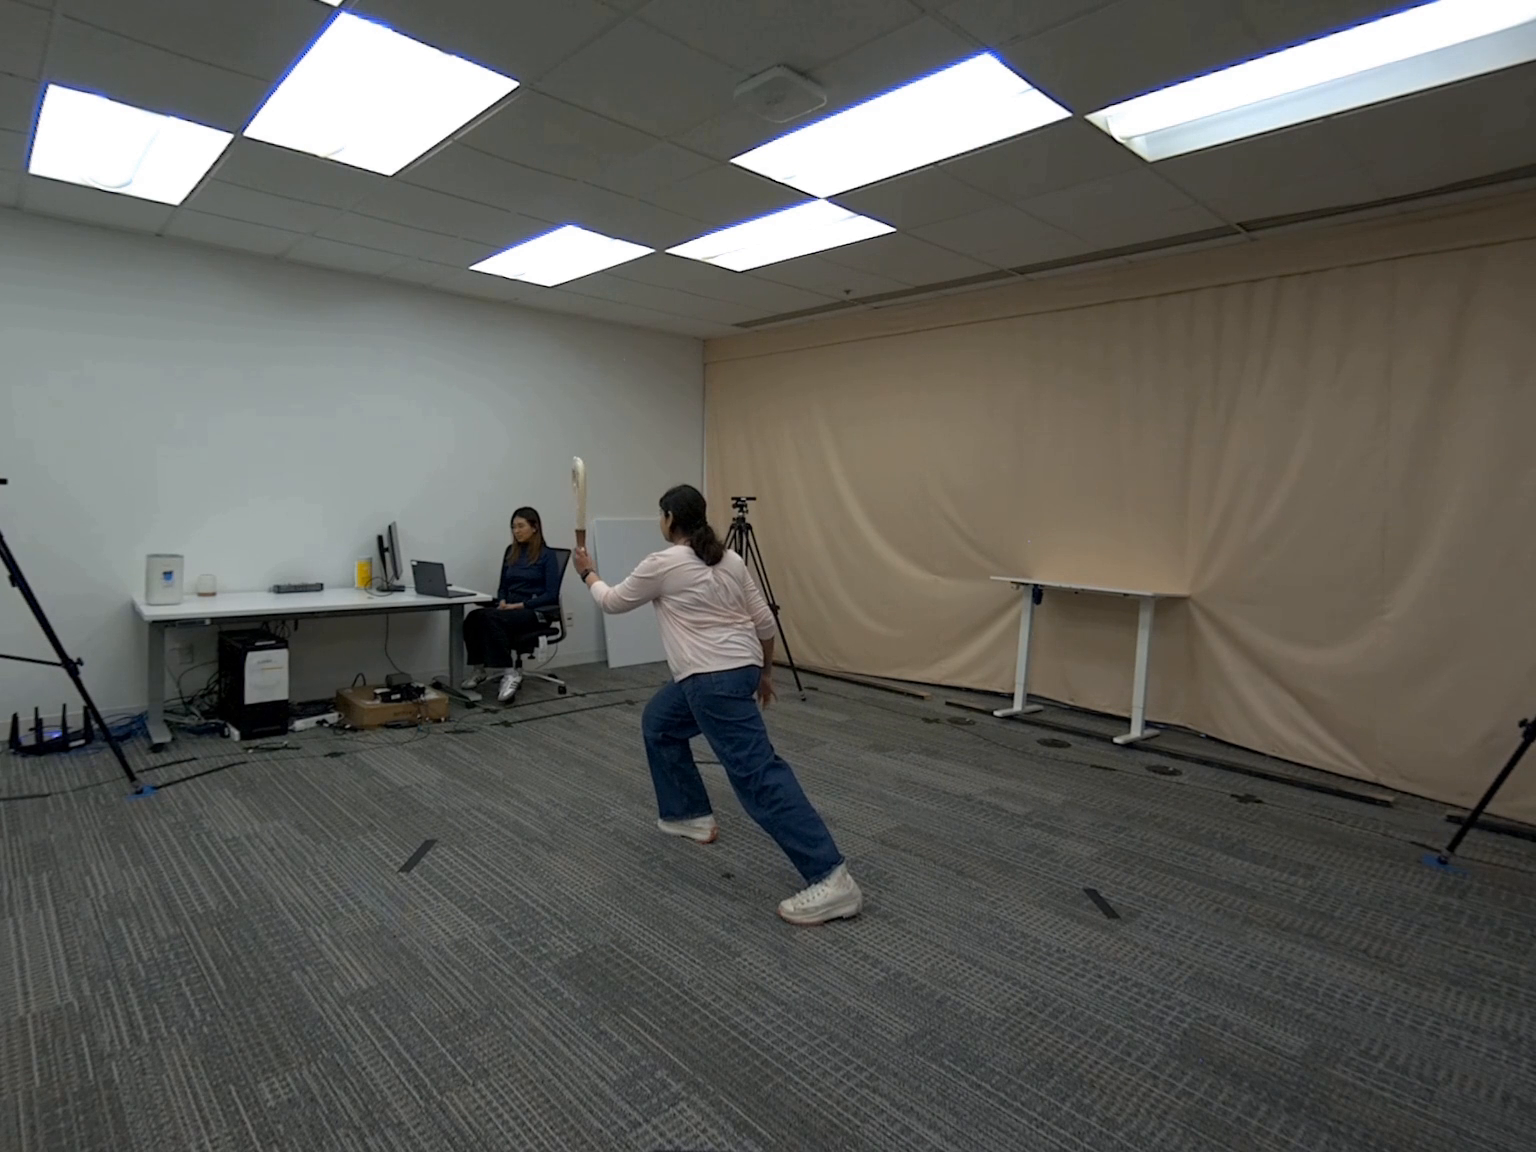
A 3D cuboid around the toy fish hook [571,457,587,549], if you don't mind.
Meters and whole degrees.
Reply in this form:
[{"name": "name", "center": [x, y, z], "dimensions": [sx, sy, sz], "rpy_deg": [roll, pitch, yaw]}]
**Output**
[{"name": "toy fish hook", "center": [-0.829, -0.262, 3.676], "dimensions": [0.048, 0.504, 0.228], "rpy_deg": [-2, 8, -17]}]
